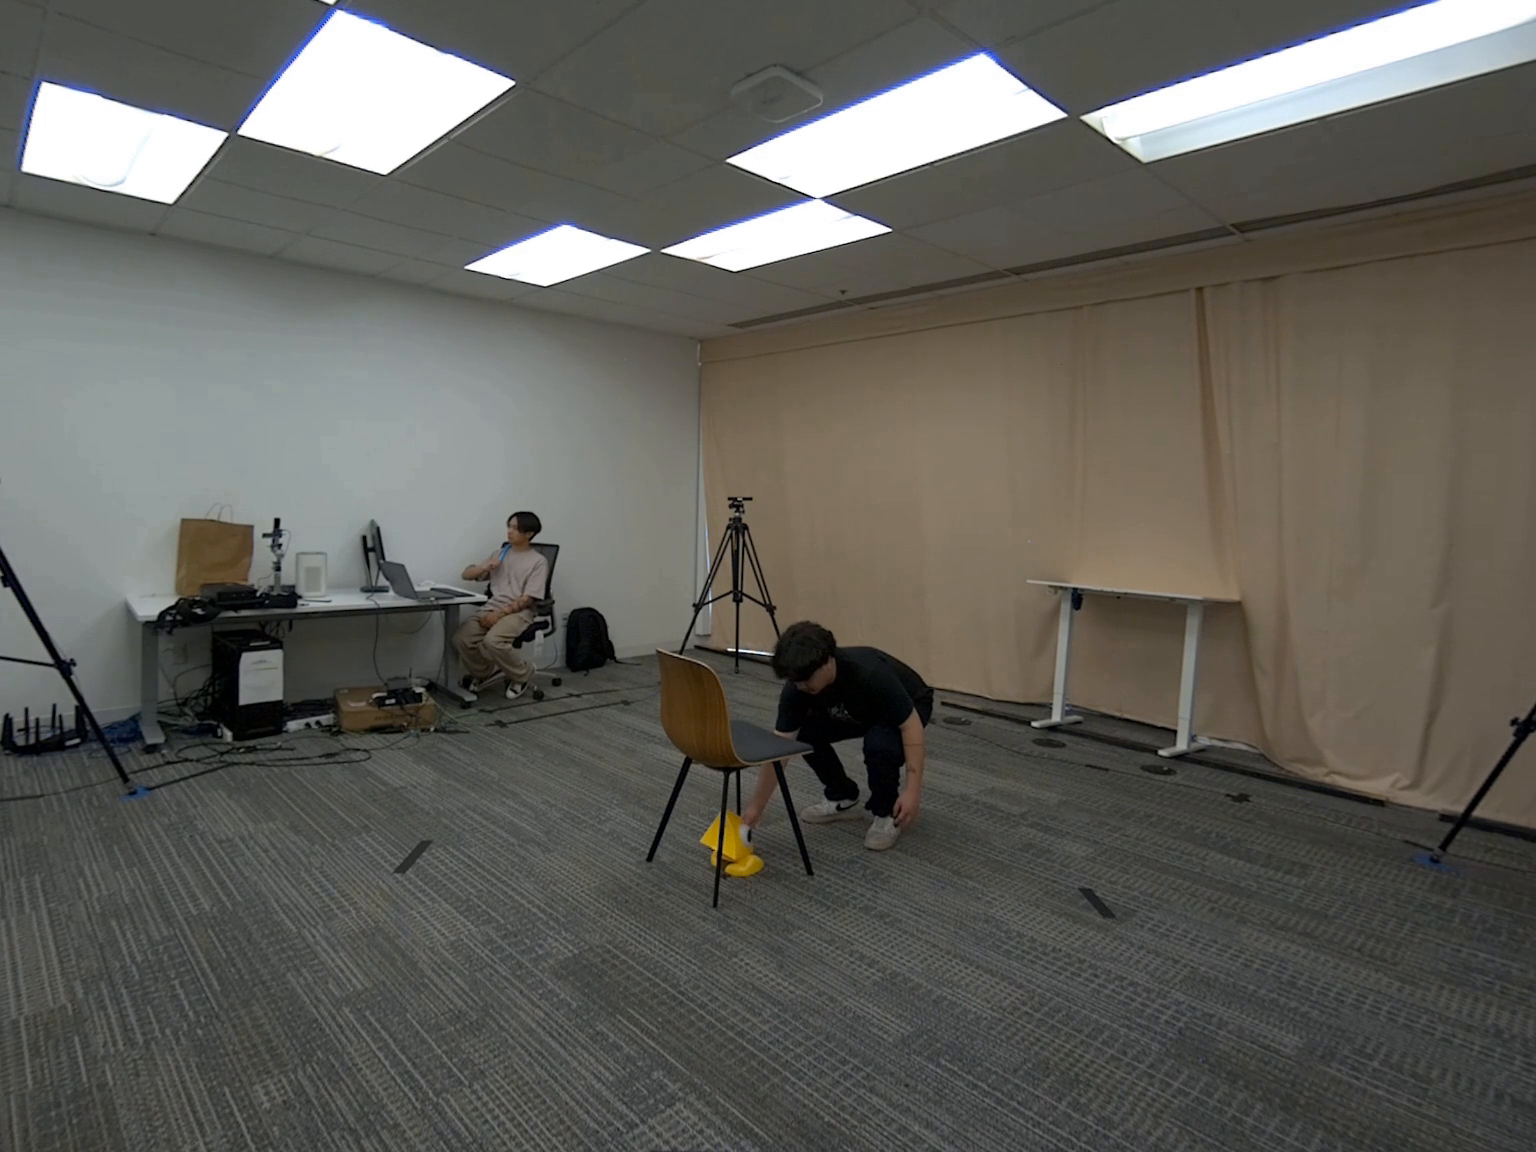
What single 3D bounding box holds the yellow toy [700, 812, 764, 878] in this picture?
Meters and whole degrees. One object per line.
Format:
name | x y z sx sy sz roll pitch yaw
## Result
yellow toy | -0.131 0.990 3.196 0.188 0.230 0.210 -1 6 -41
